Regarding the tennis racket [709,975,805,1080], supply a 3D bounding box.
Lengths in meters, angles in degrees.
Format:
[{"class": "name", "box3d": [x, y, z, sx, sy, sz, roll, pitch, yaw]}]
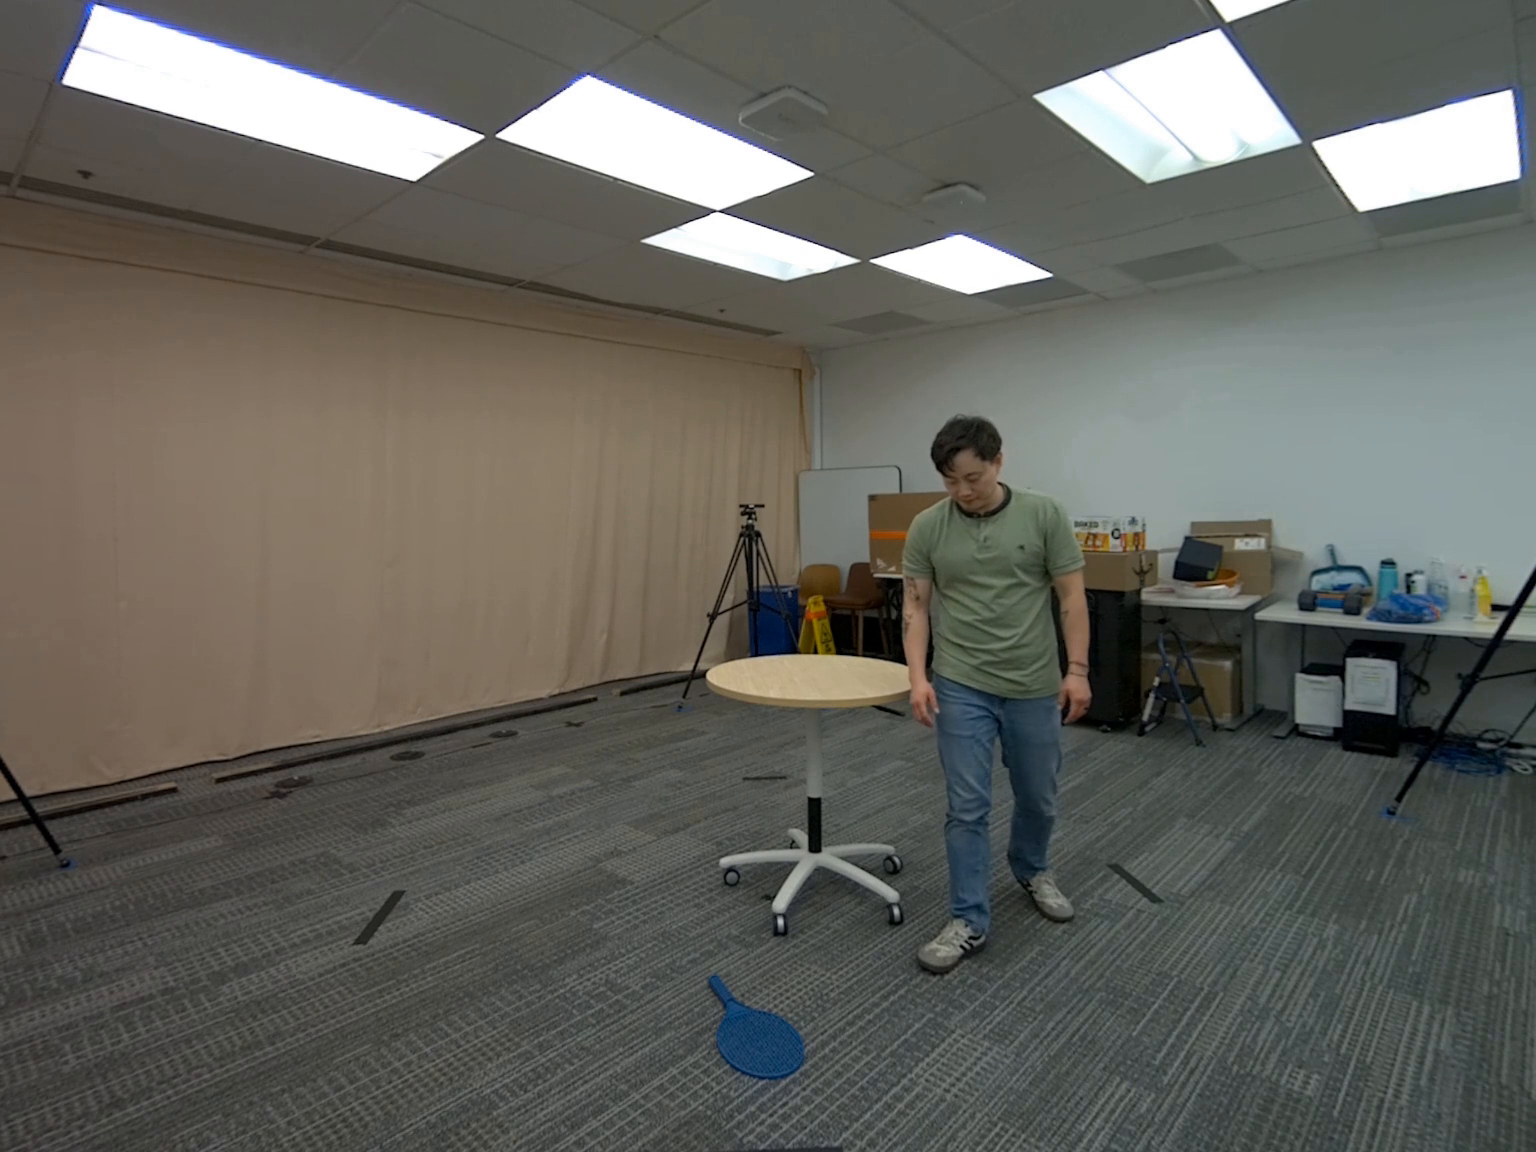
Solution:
[{"class": "tennis racket", "box3d": [-0.056, 1.190, 2.244, 0.208, 0.031, 0.445, -4, 7, -28]}]
